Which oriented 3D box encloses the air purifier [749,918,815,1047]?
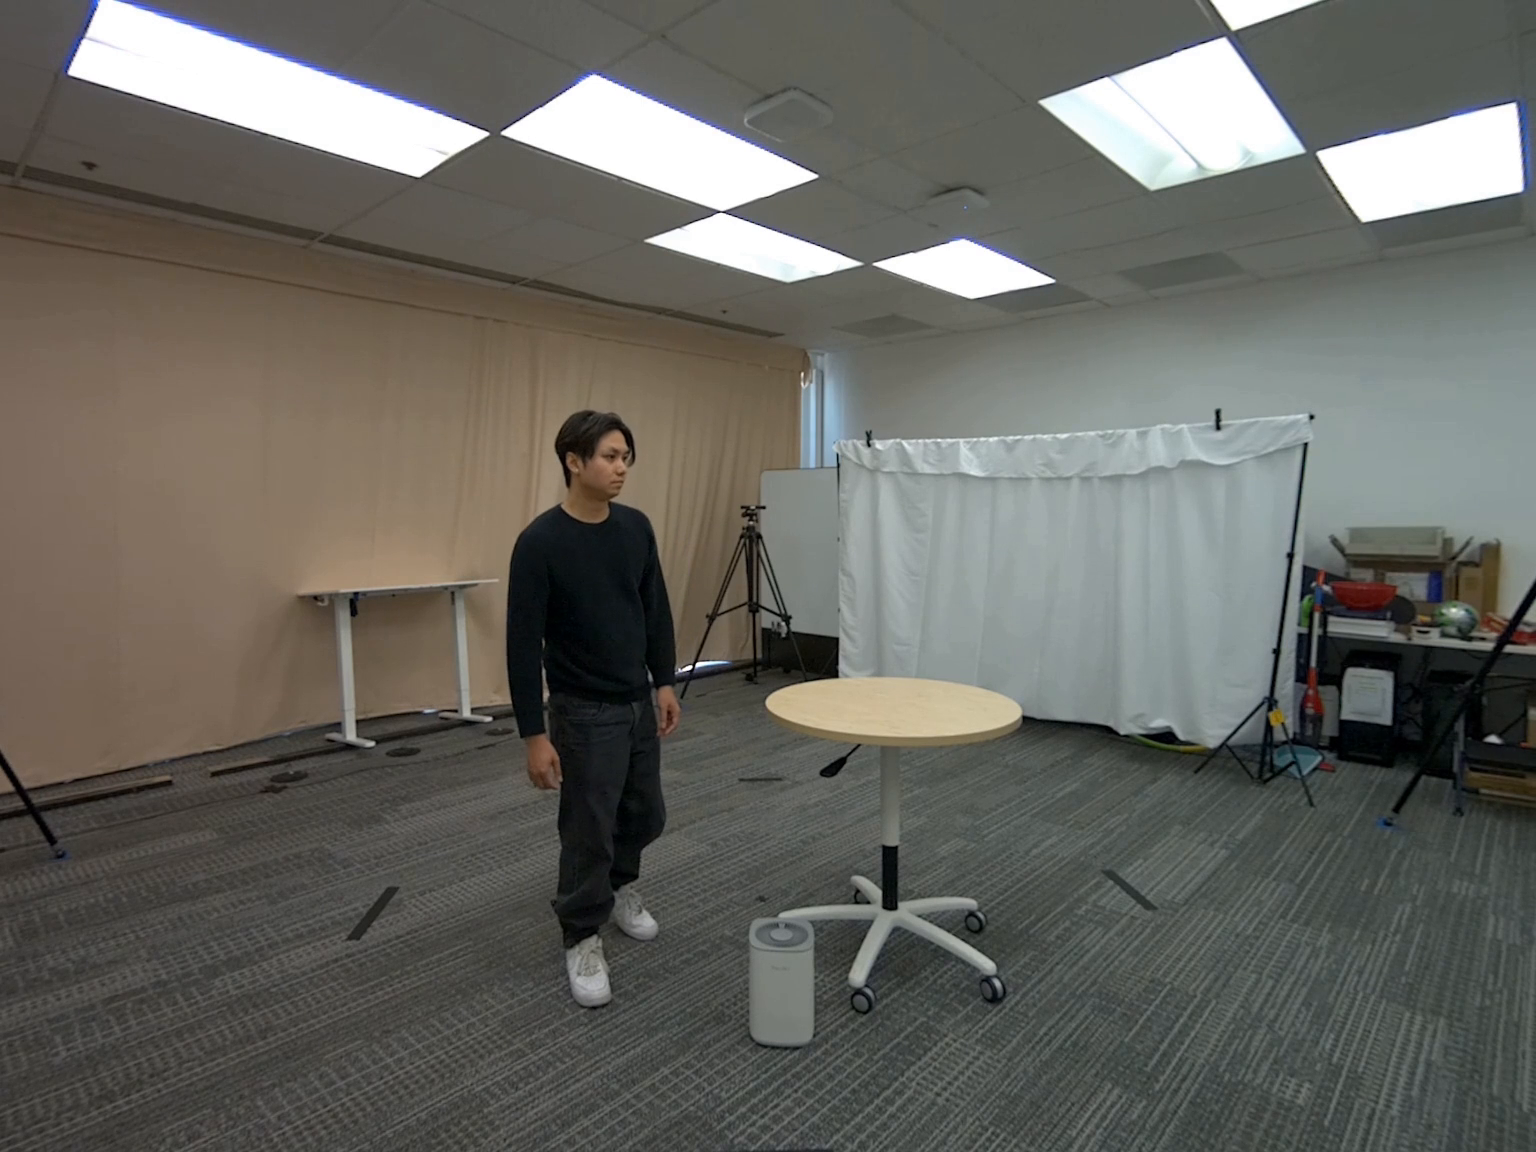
[{"bbox_3d":[0.041,1.076,2.219,0.172,0.265,0.171,1,3,4],"label":"air purifier"}]
